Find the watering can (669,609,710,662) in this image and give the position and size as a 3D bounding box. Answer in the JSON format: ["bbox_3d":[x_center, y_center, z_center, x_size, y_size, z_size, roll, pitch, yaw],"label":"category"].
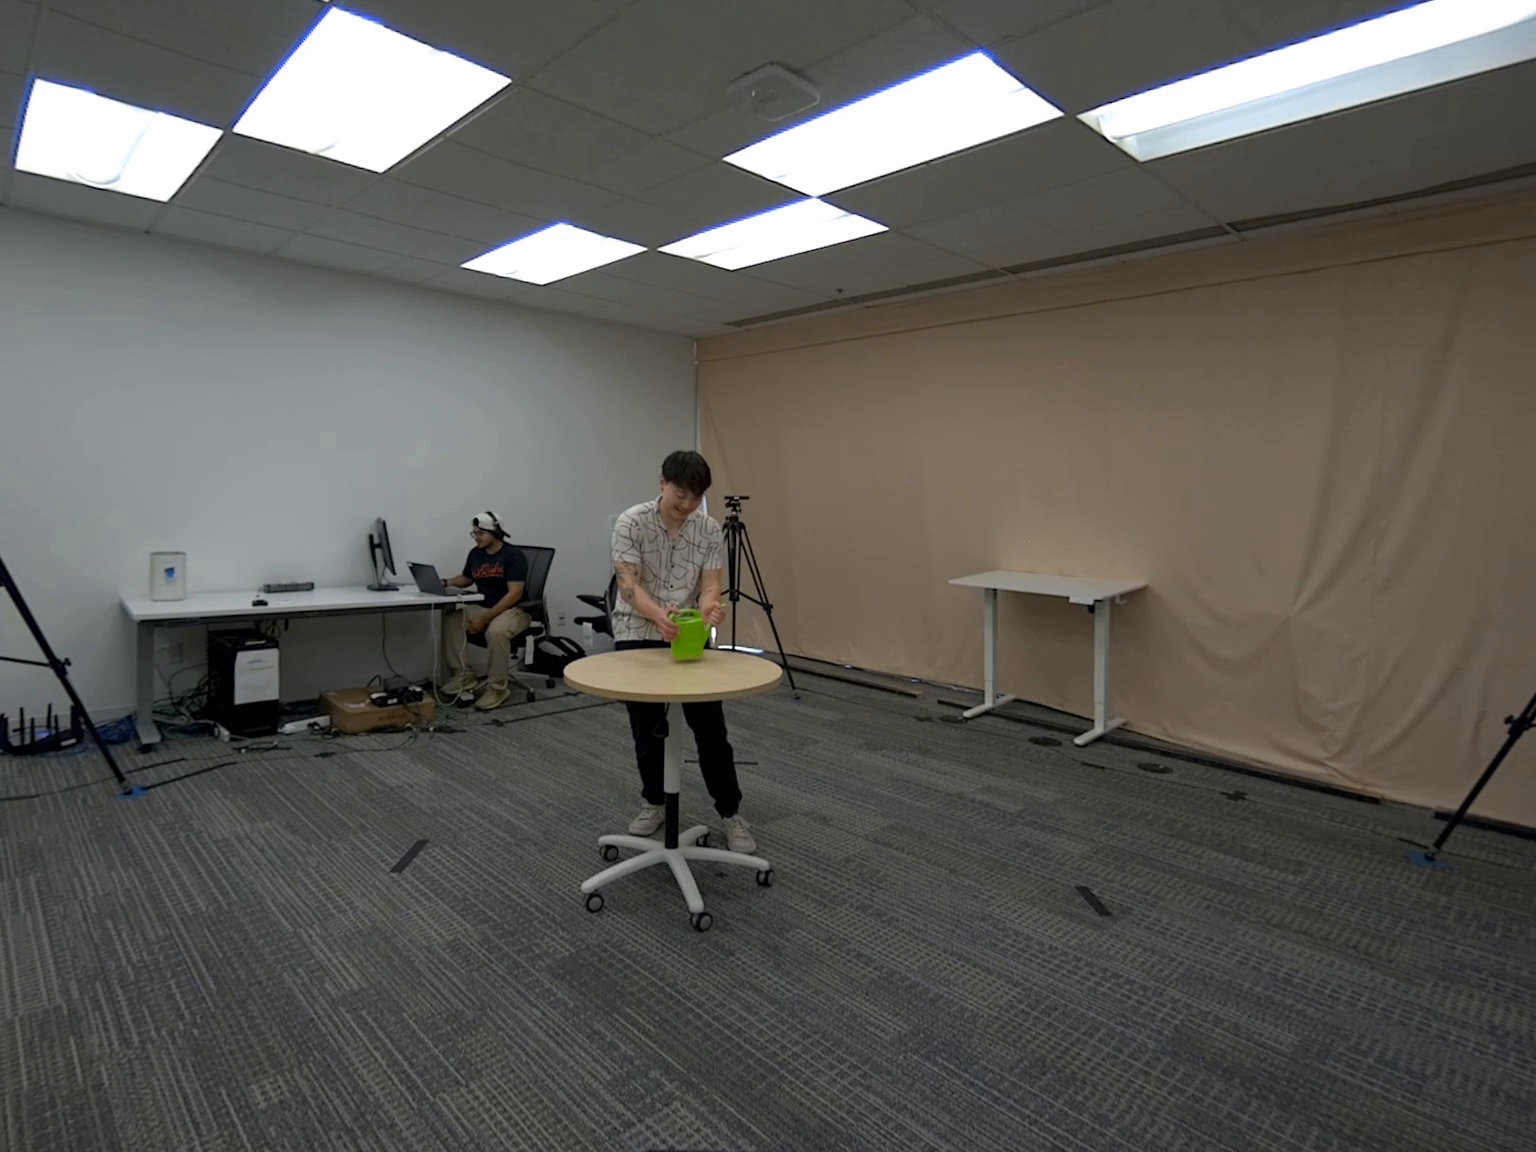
[{"bbox_3d":[-0.267,0.208,3.109,0.272,0.176,0.100,-3,9,-35],"label":"watering can"}]
